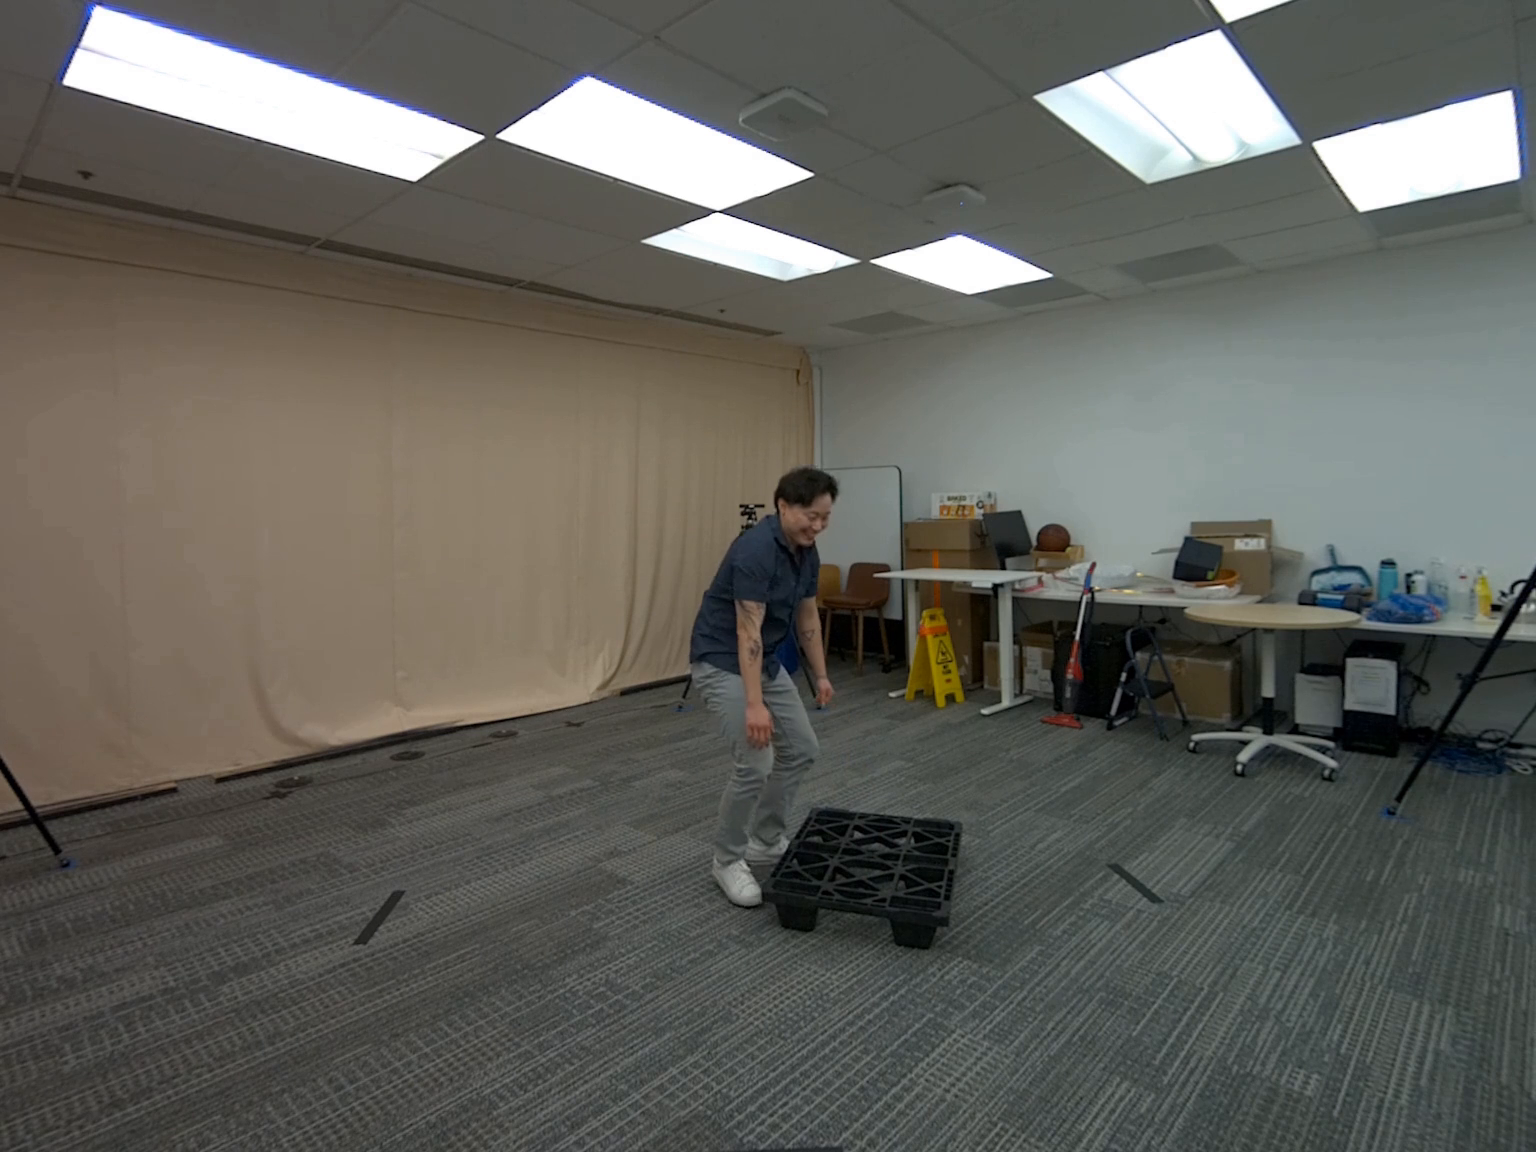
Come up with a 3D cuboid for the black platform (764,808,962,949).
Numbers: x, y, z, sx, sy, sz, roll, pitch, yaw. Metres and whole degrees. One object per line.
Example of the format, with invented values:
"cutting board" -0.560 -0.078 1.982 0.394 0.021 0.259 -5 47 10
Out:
"black platform" 0.373 1.062 3.023 0.617 0.143 0.792 0 5 17
